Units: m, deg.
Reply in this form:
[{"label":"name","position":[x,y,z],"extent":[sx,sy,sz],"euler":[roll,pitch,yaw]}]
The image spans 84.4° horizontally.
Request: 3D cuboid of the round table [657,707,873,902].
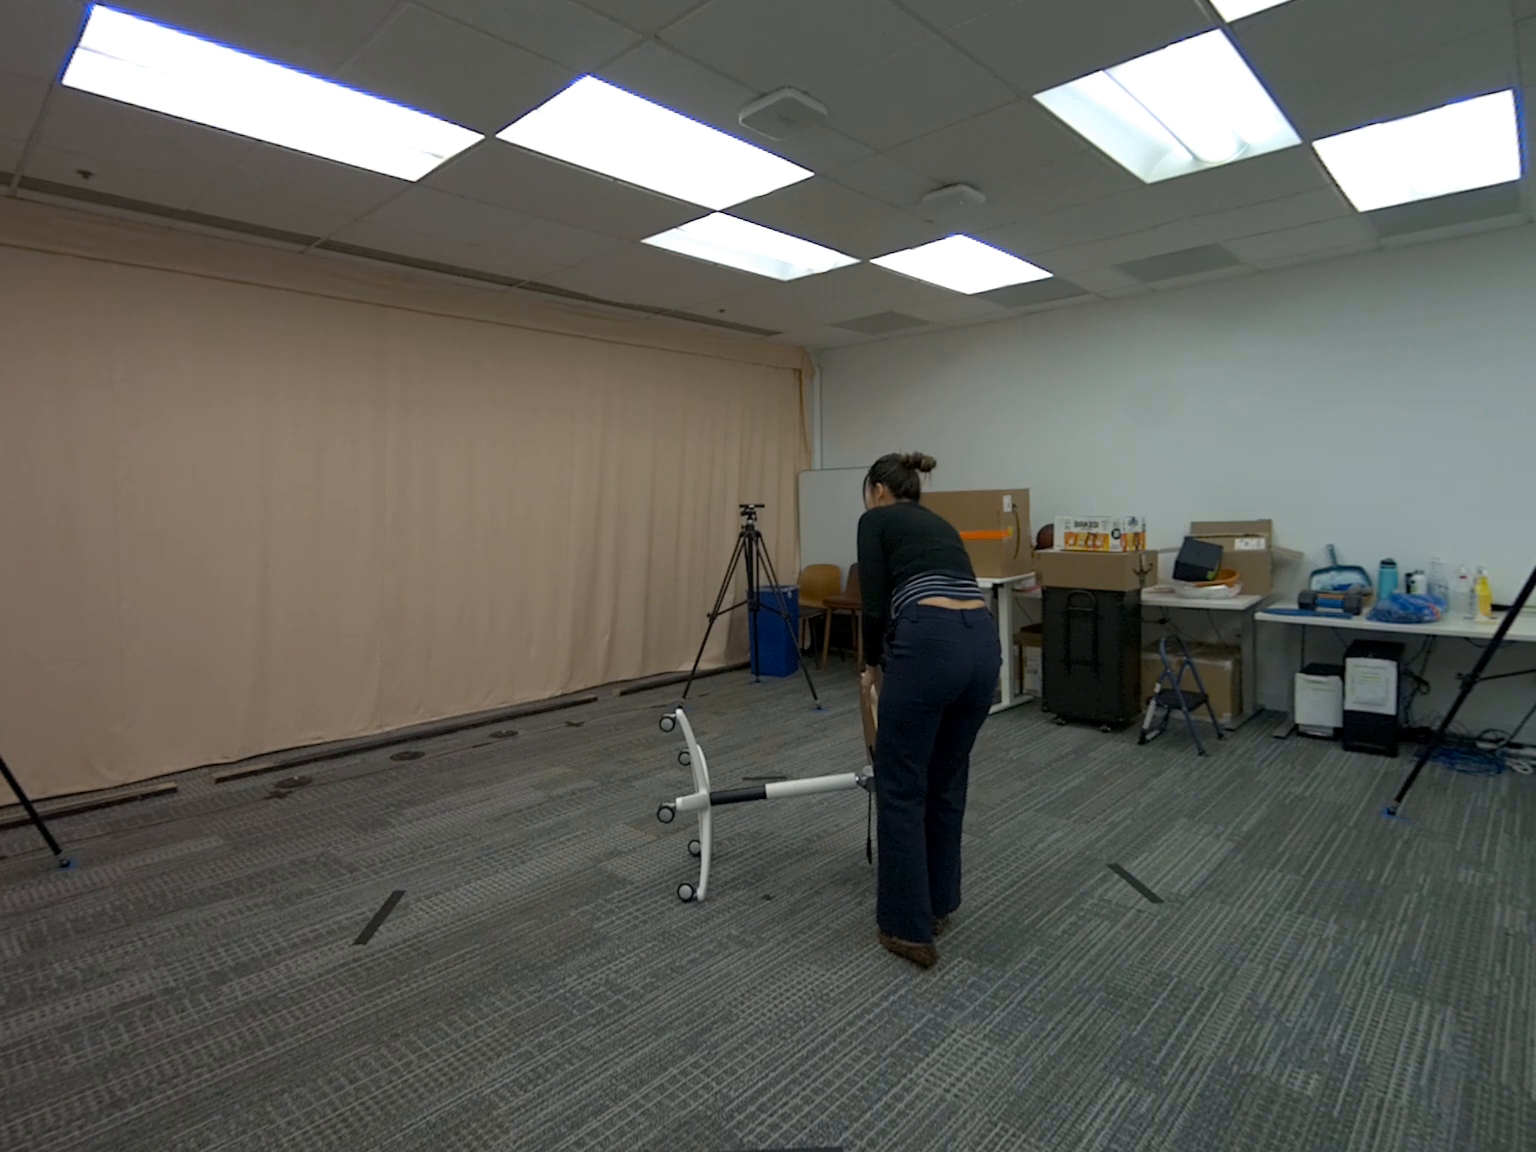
[{"label":"round table","position":[0.040,0.800,3.125],"extent":[0.797,0.762,0.763],"euler":[-8,4,3]}]
